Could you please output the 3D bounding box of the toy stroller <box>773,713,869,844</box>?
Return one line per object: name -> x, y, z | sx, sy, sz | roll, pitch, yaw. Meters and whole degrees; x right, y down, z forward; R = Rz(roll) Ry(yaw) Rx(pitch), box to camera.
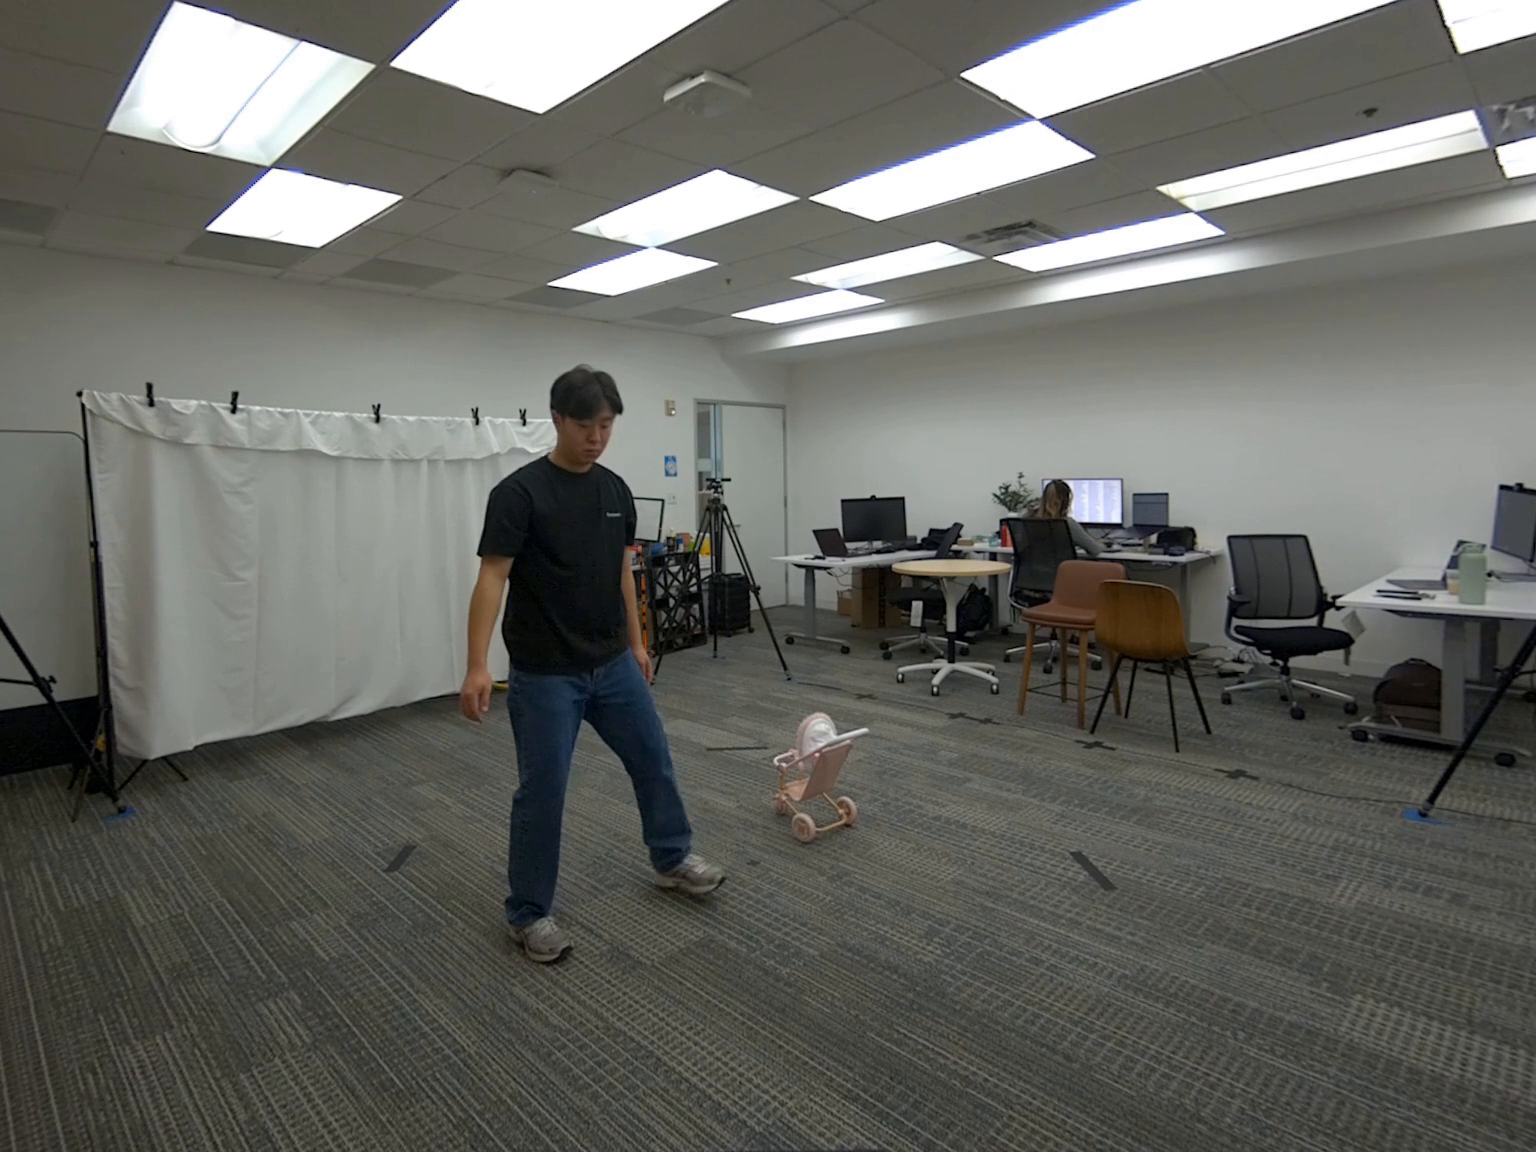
toy stroller -> 0.185, 0.779, 3.397 | 0.274, 0.528, 0.354 | -4, 21, -38
